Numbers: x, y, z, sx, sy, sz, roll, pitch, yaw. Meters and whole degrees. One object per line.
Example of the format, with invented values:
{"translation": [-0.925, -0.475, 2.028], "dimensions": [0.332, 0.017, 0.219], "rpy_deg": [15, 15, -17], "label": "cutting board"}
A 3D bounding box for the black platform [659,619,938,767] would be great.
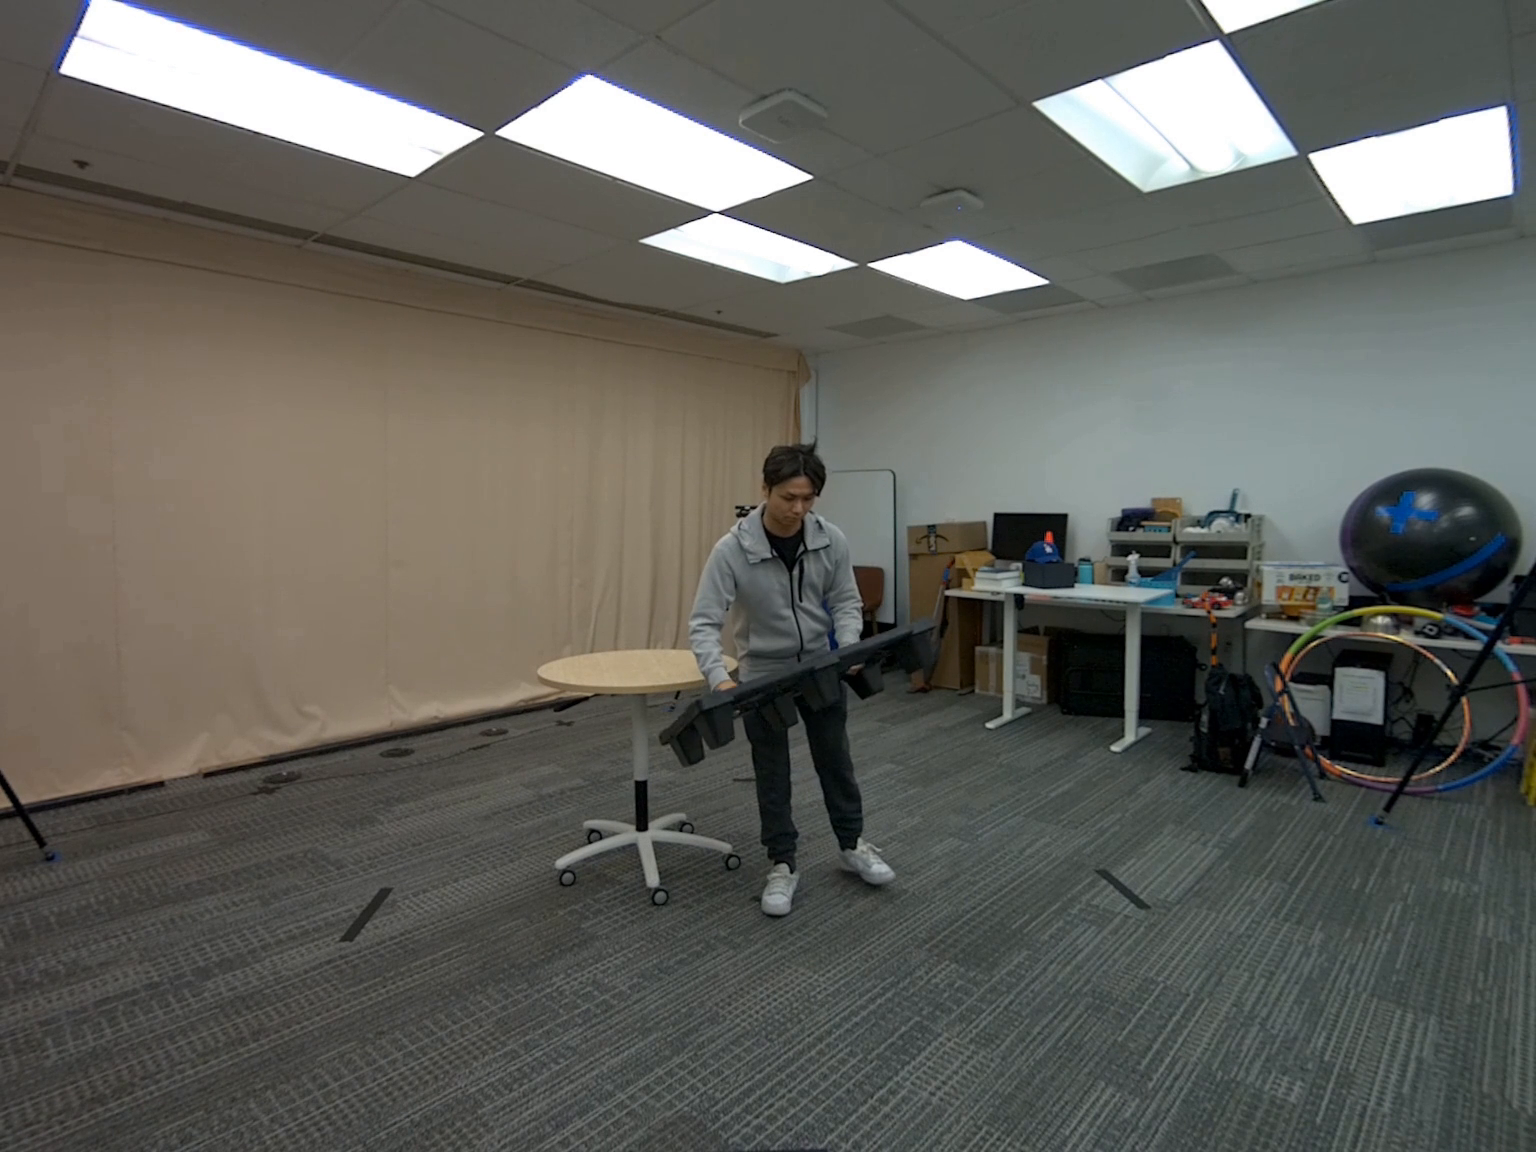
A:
{"translation": [0.096, 0.388, 2.657], "dimensions": [0.792, 0.145, 0.606], "rpy_deg": [-17, -14, -21], "label": "black platform"}
